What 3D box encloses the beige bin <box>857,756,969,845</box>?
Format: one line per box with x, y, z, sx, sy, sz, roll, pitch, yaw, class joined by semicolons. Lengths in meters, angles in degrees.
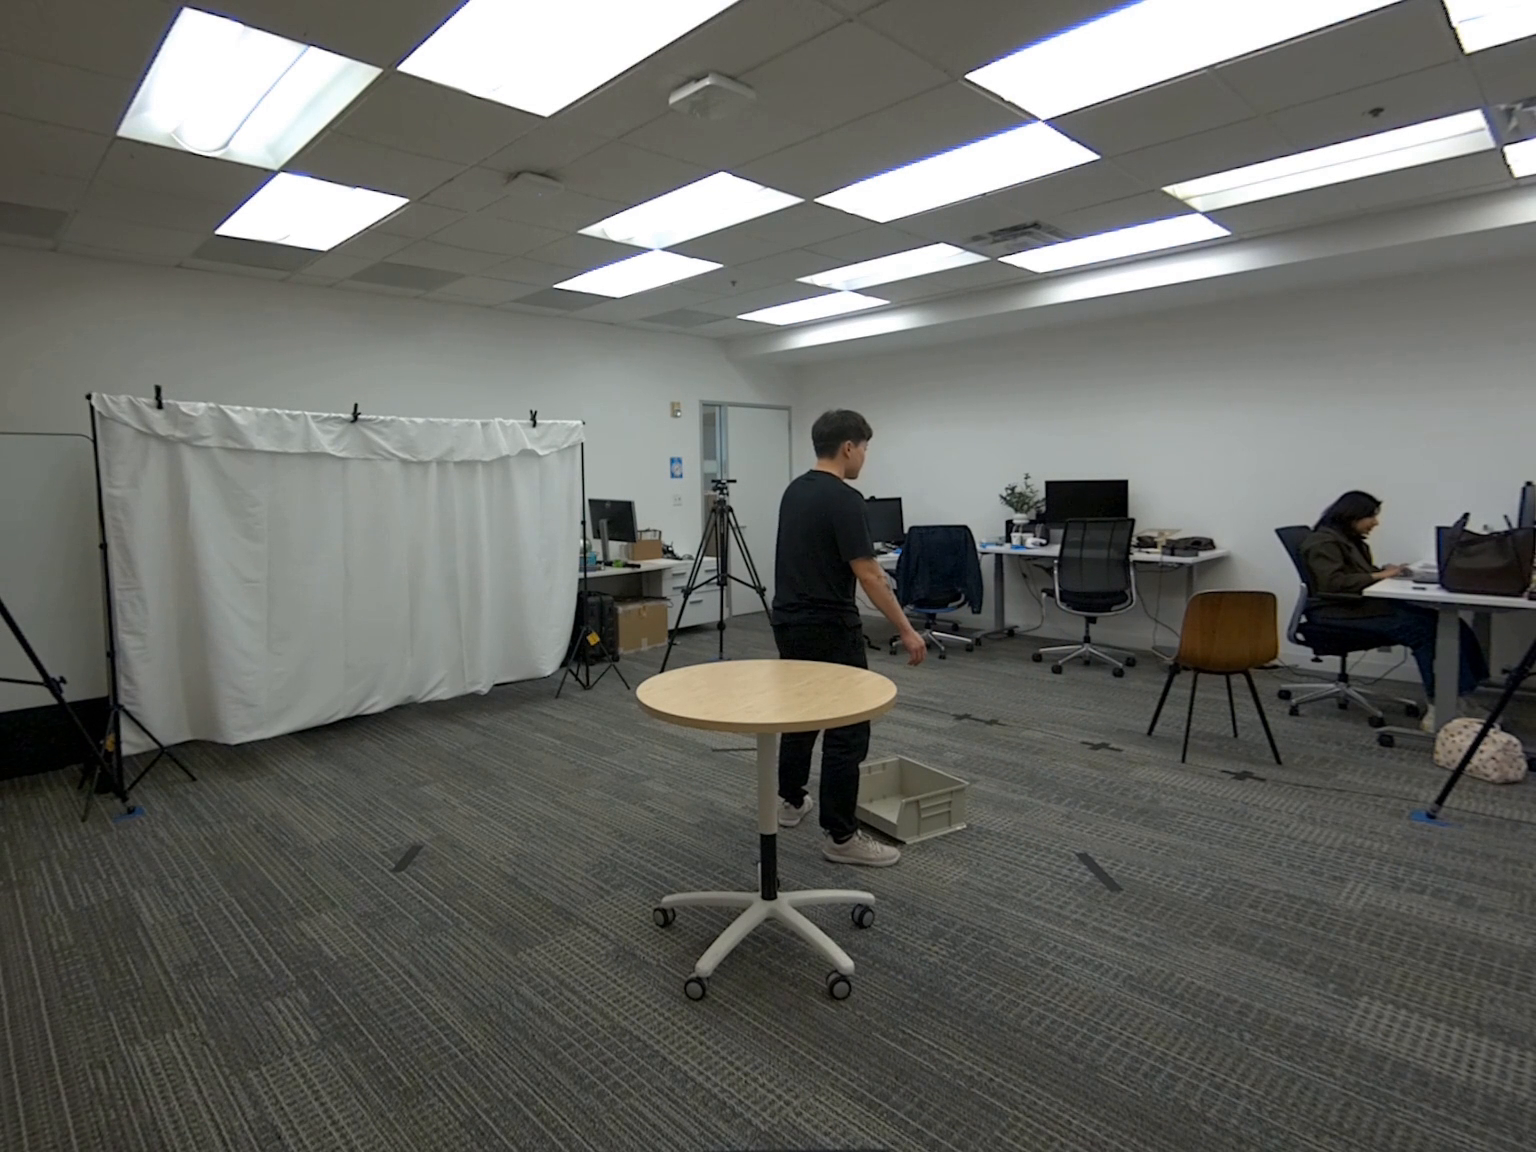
0.530;0.906;3.482;0.368;0.188;0.434;-4;6;-31;beige bin
